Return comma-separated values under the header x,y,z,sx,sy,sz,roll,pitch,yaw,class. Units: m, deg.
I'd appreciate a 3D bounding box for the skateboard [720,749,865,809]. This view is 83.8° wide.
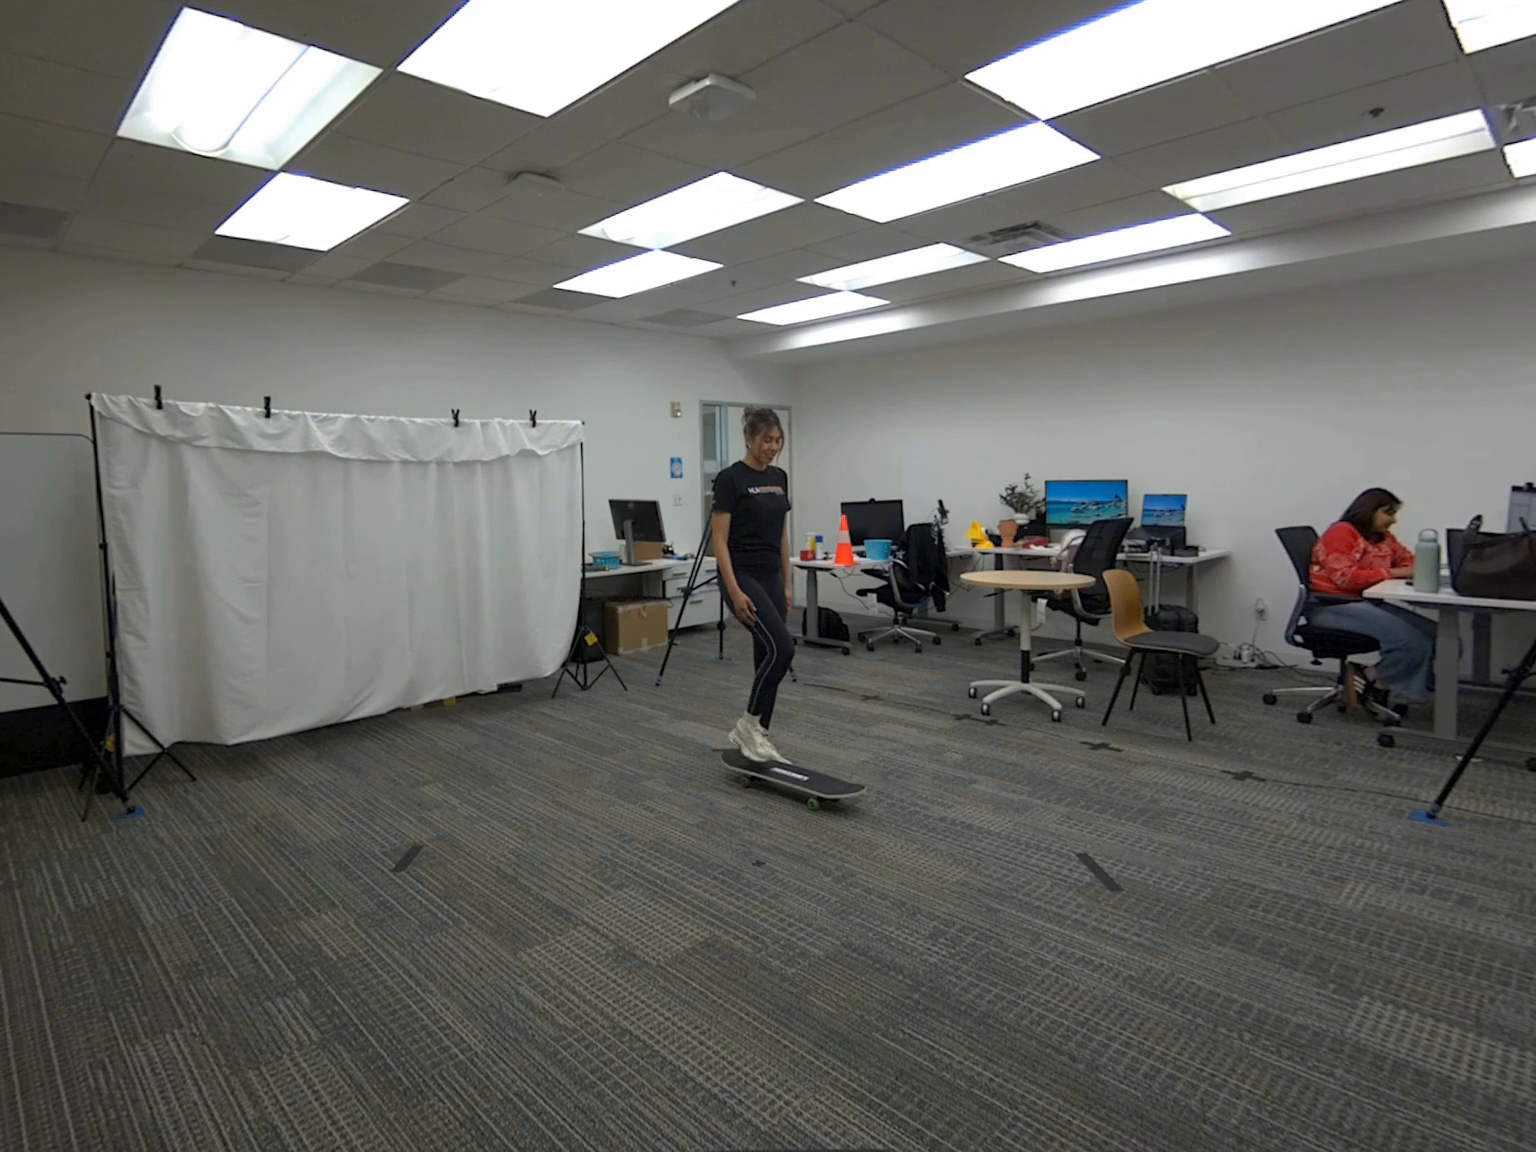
x,y,z,sx,sy,sz,roll,pitch,yaw,class
0.103,0.912,3.799,0.810,0.110,0.188,5,10,44,skateboard
